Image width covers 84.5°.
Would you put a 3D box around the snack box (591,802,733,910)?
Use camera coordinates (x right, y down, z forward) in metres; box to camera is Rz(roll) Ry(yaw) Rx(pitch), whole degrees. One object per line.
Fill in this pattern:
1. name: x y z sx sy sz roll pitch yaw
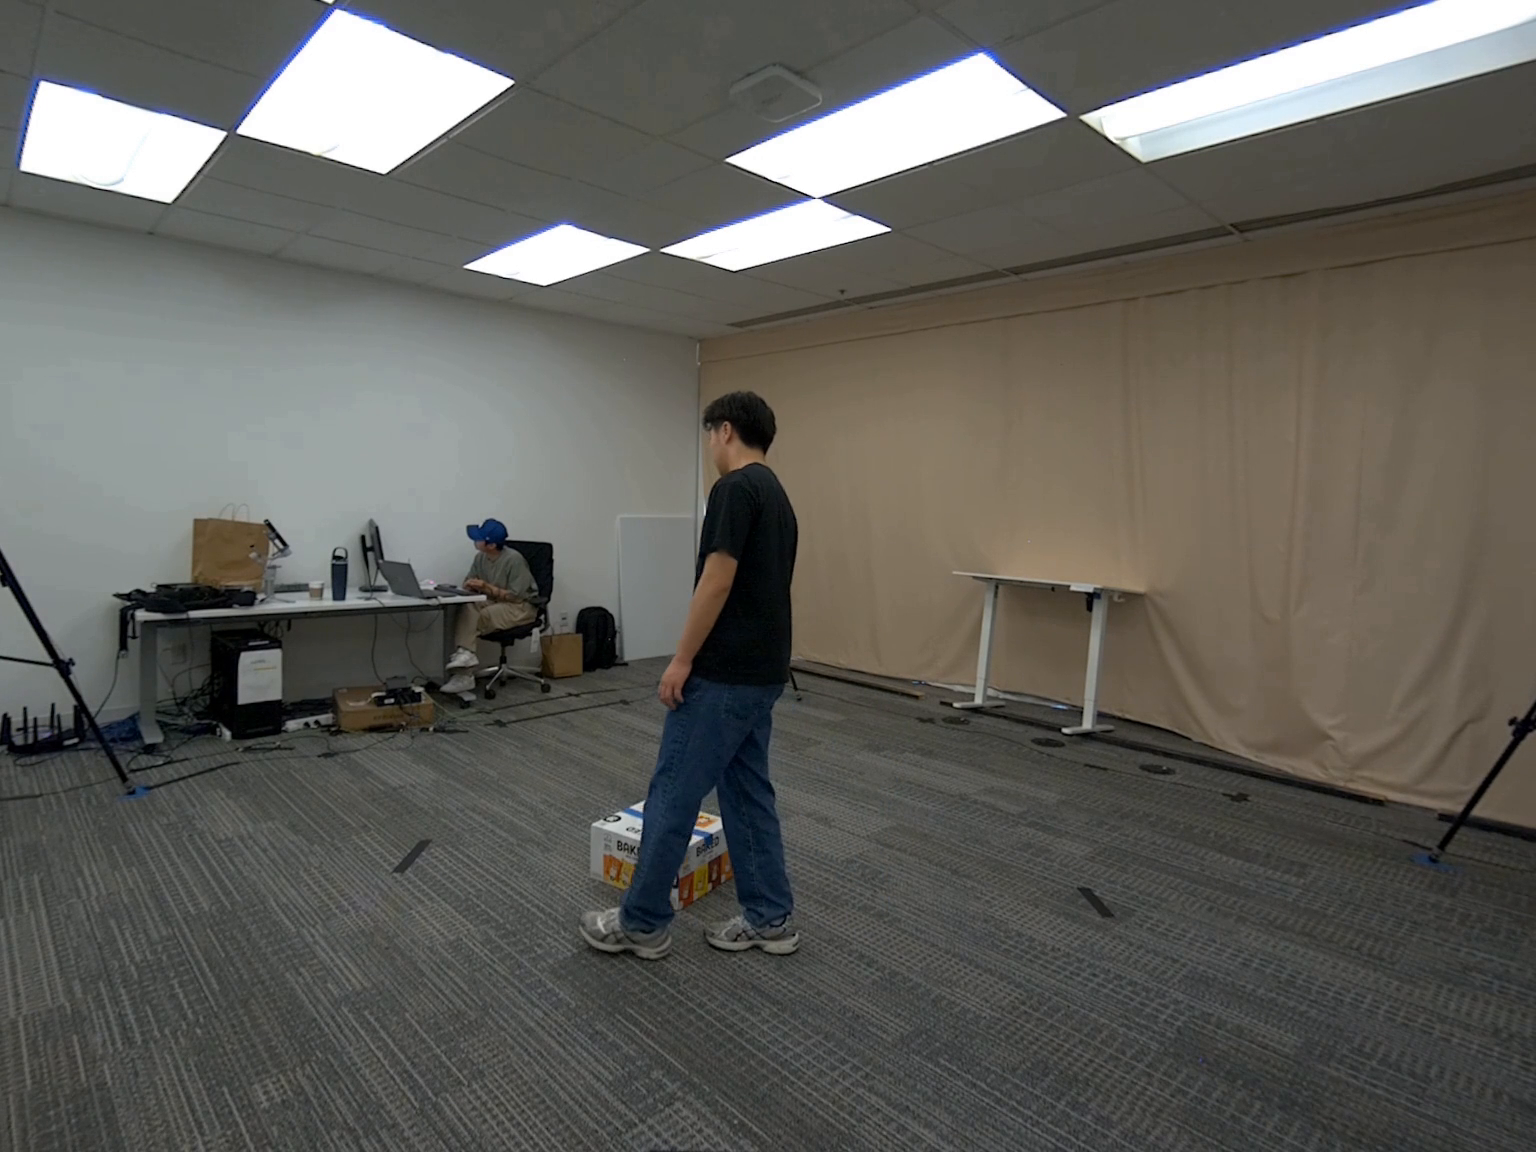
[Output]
1. snack box: -0.387 1.004 3.072 0.415 0.205 0.333 5 6 33
